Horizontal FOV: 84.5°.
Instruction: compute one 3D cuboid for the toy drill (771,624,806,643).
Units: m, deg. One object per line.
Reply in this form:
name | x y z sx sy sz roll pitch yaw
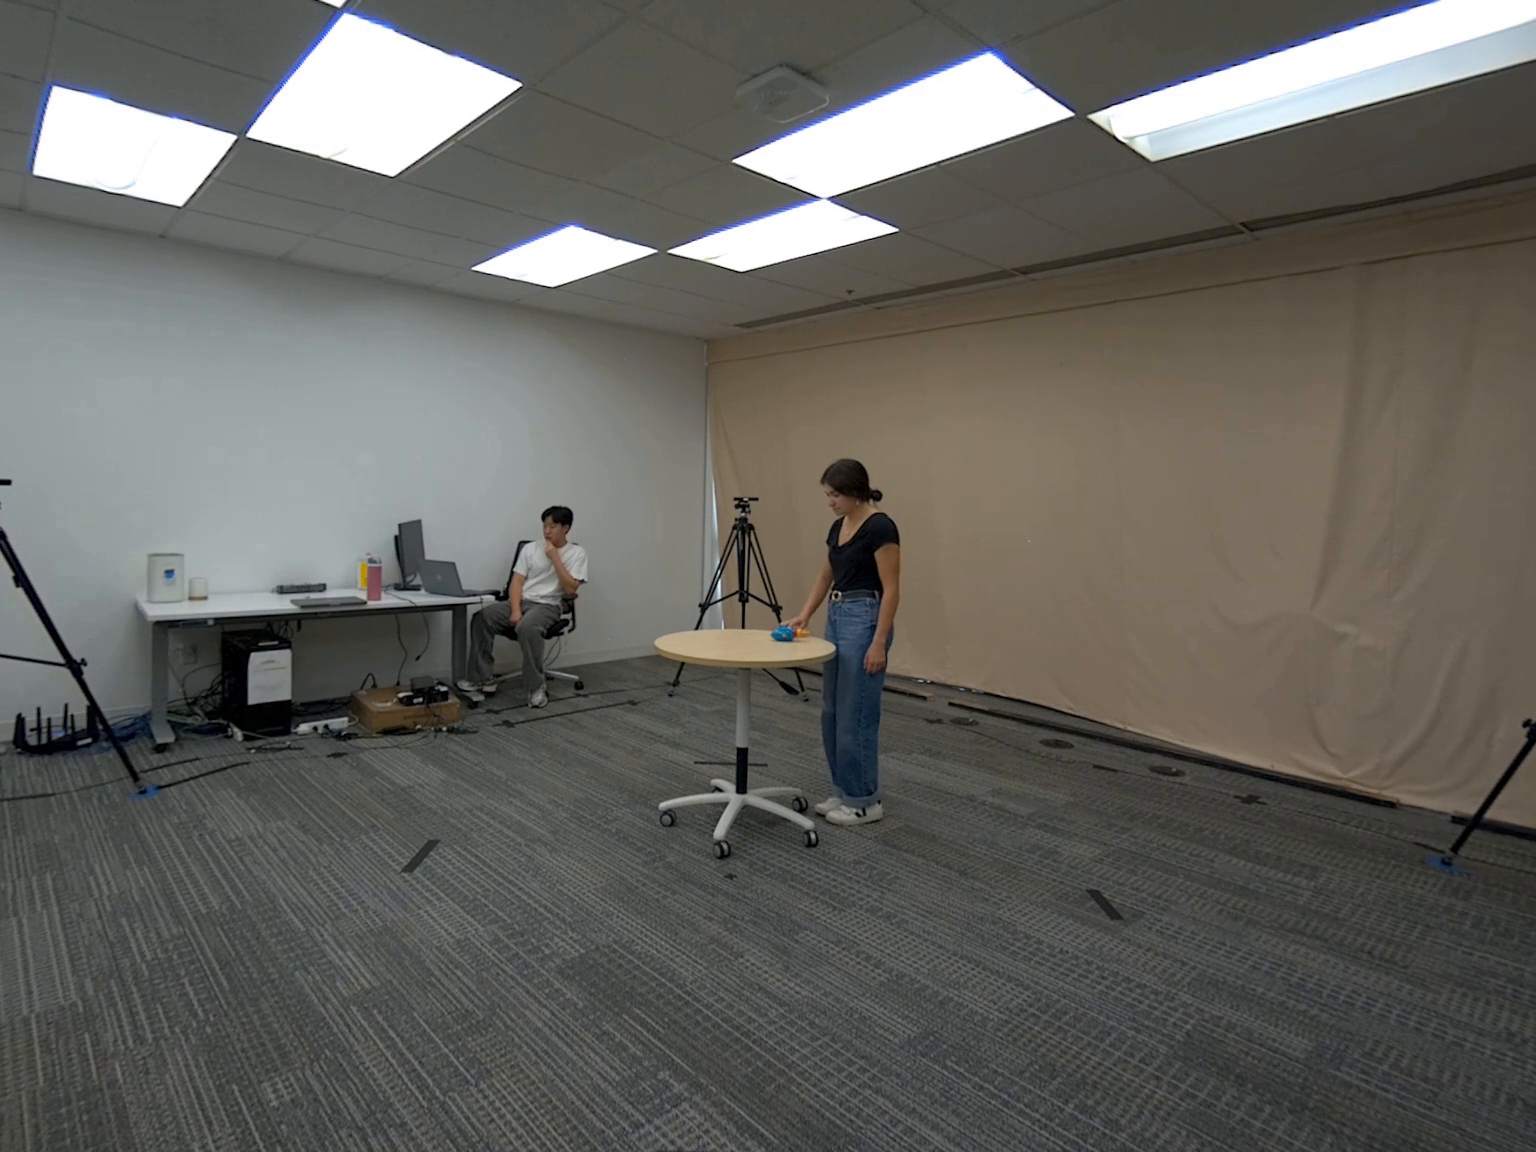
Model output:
toy drill | 0.091 0.246 3.698 0.170 0.061 0.145 -4 2 5
